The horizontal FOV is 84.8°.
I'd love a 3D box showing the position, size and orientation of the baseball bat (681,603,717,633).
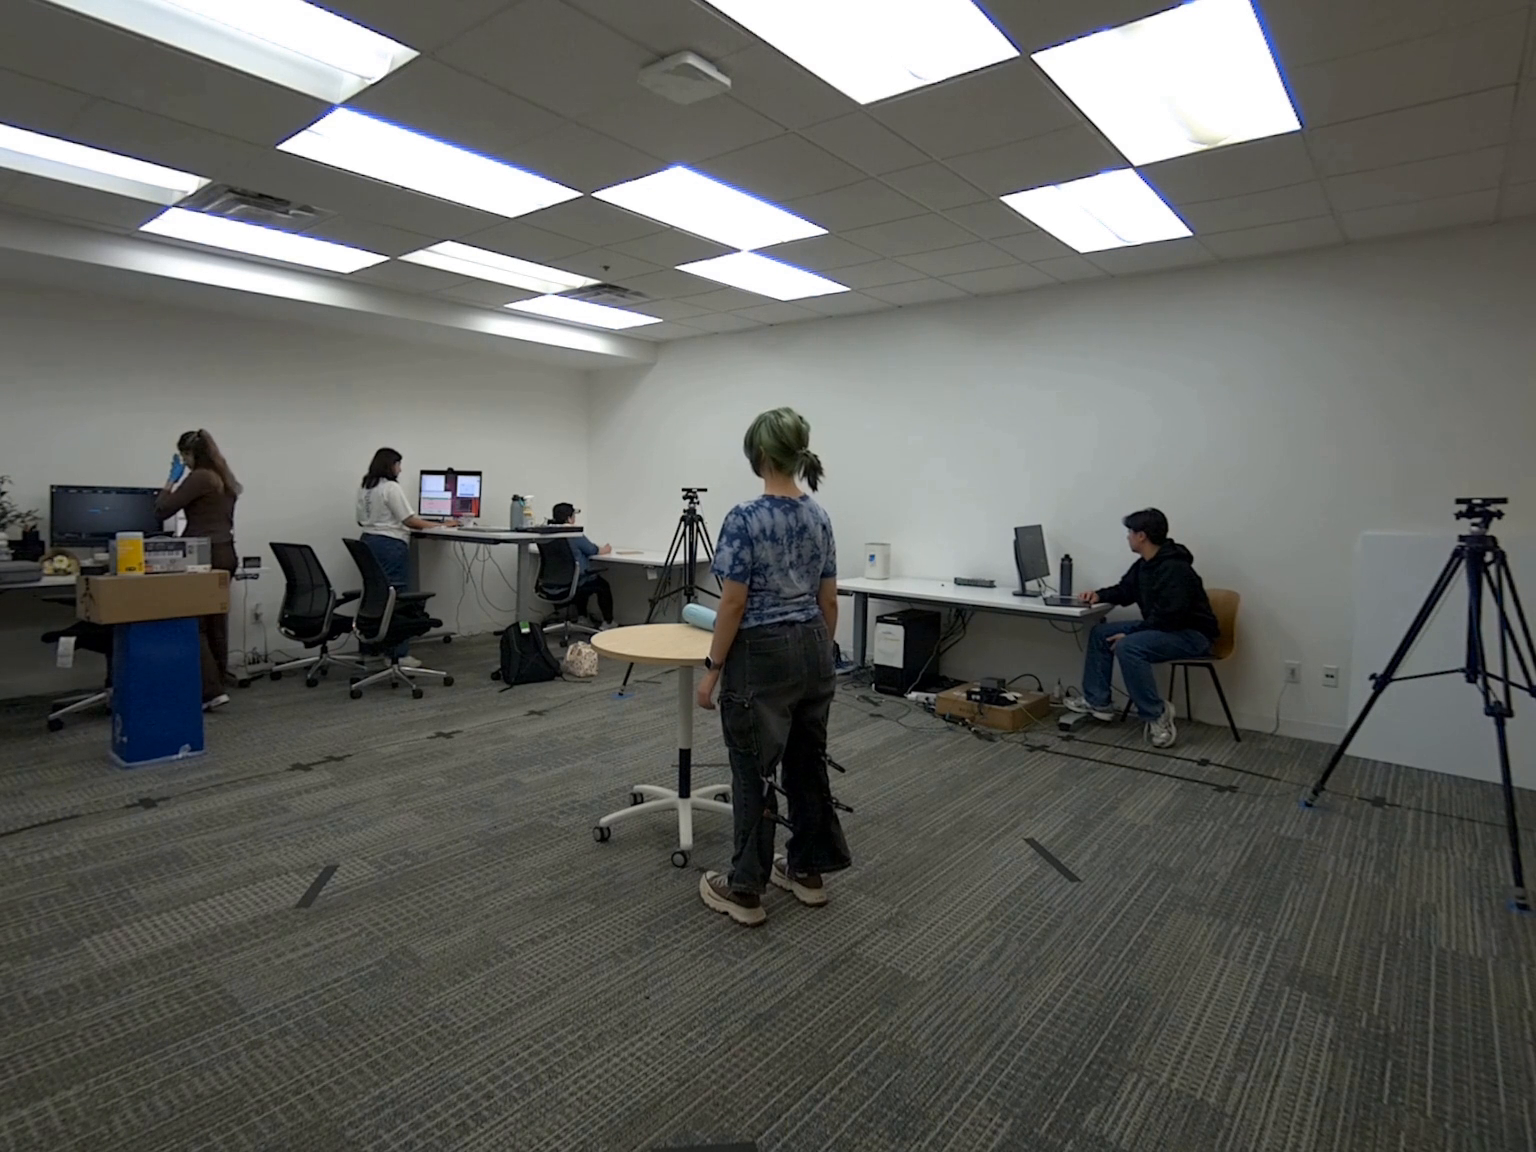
[{"bbox_3d":[-0.199,0.206,3.573,0.086,0.088,0.562,-2,10,-35],"label":"baseball bat"}]
